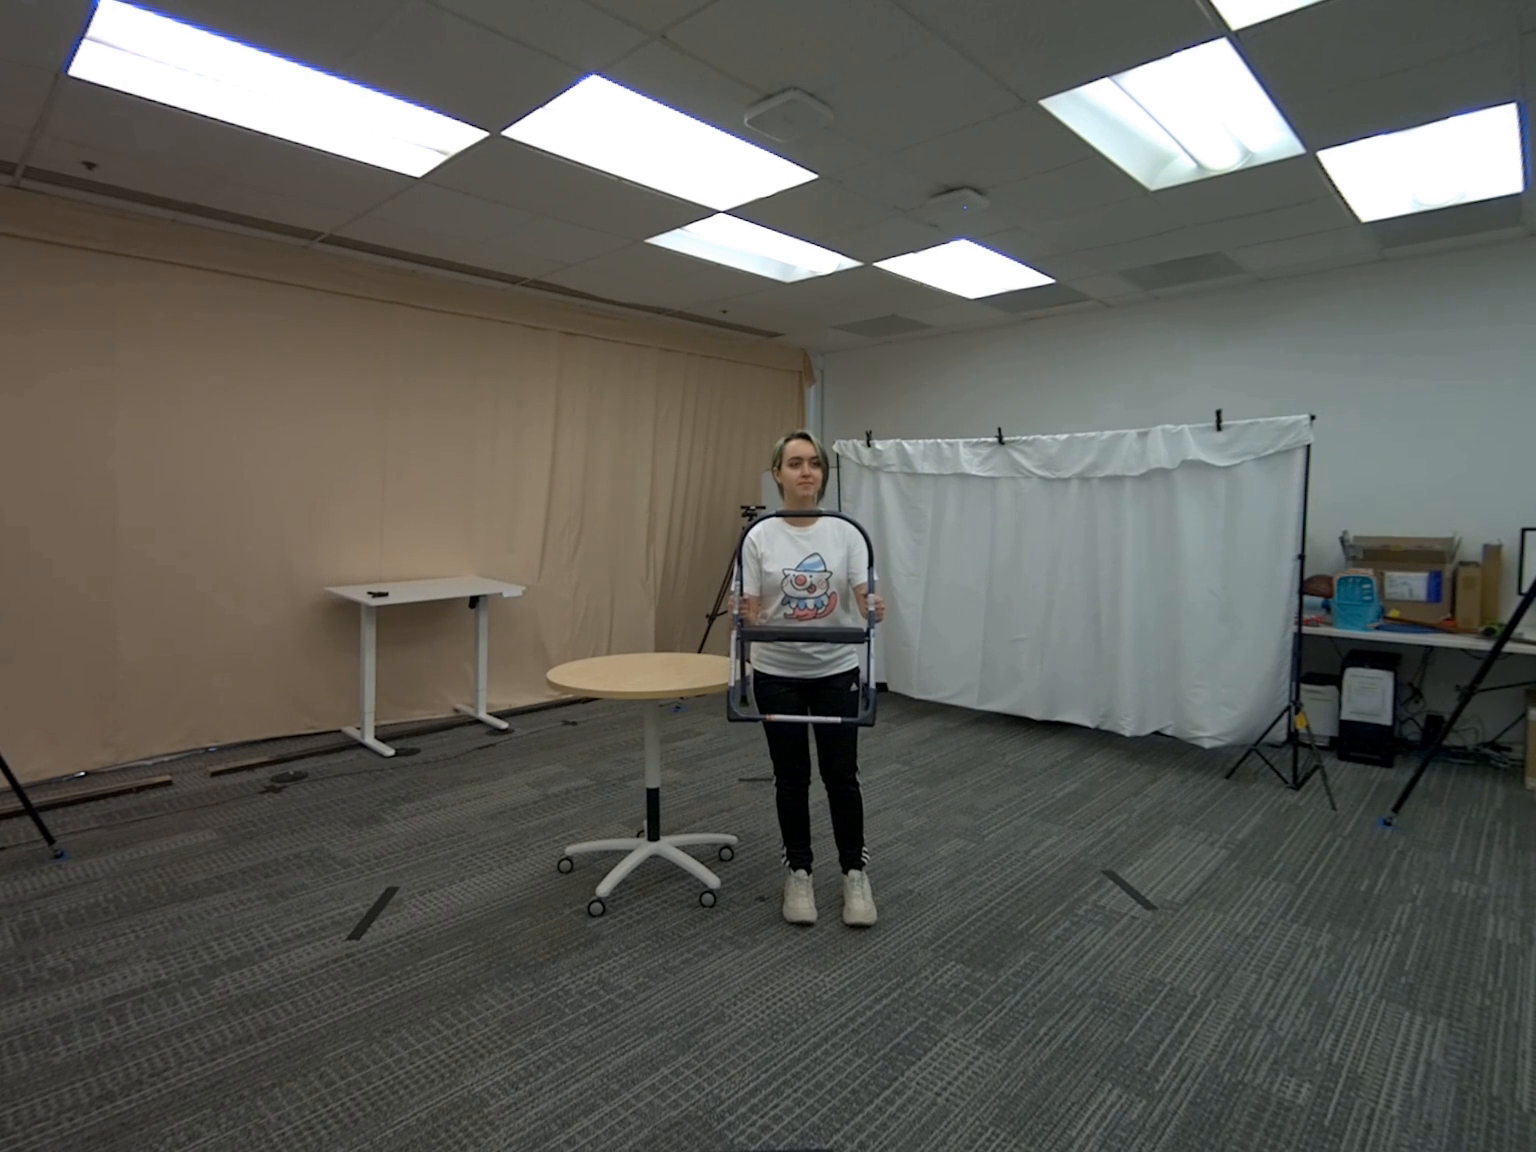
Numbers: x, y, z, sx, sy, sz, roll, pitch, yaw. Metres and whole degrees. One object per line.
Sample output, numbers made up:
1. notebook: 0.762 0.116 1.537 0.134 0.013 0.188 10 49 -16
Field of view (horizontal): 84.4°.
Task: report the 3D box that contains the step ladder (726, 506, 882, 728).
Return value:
1. step ladder: 0.122 0.118 2.512 0.435 0.606 0.346 2 -1 7
